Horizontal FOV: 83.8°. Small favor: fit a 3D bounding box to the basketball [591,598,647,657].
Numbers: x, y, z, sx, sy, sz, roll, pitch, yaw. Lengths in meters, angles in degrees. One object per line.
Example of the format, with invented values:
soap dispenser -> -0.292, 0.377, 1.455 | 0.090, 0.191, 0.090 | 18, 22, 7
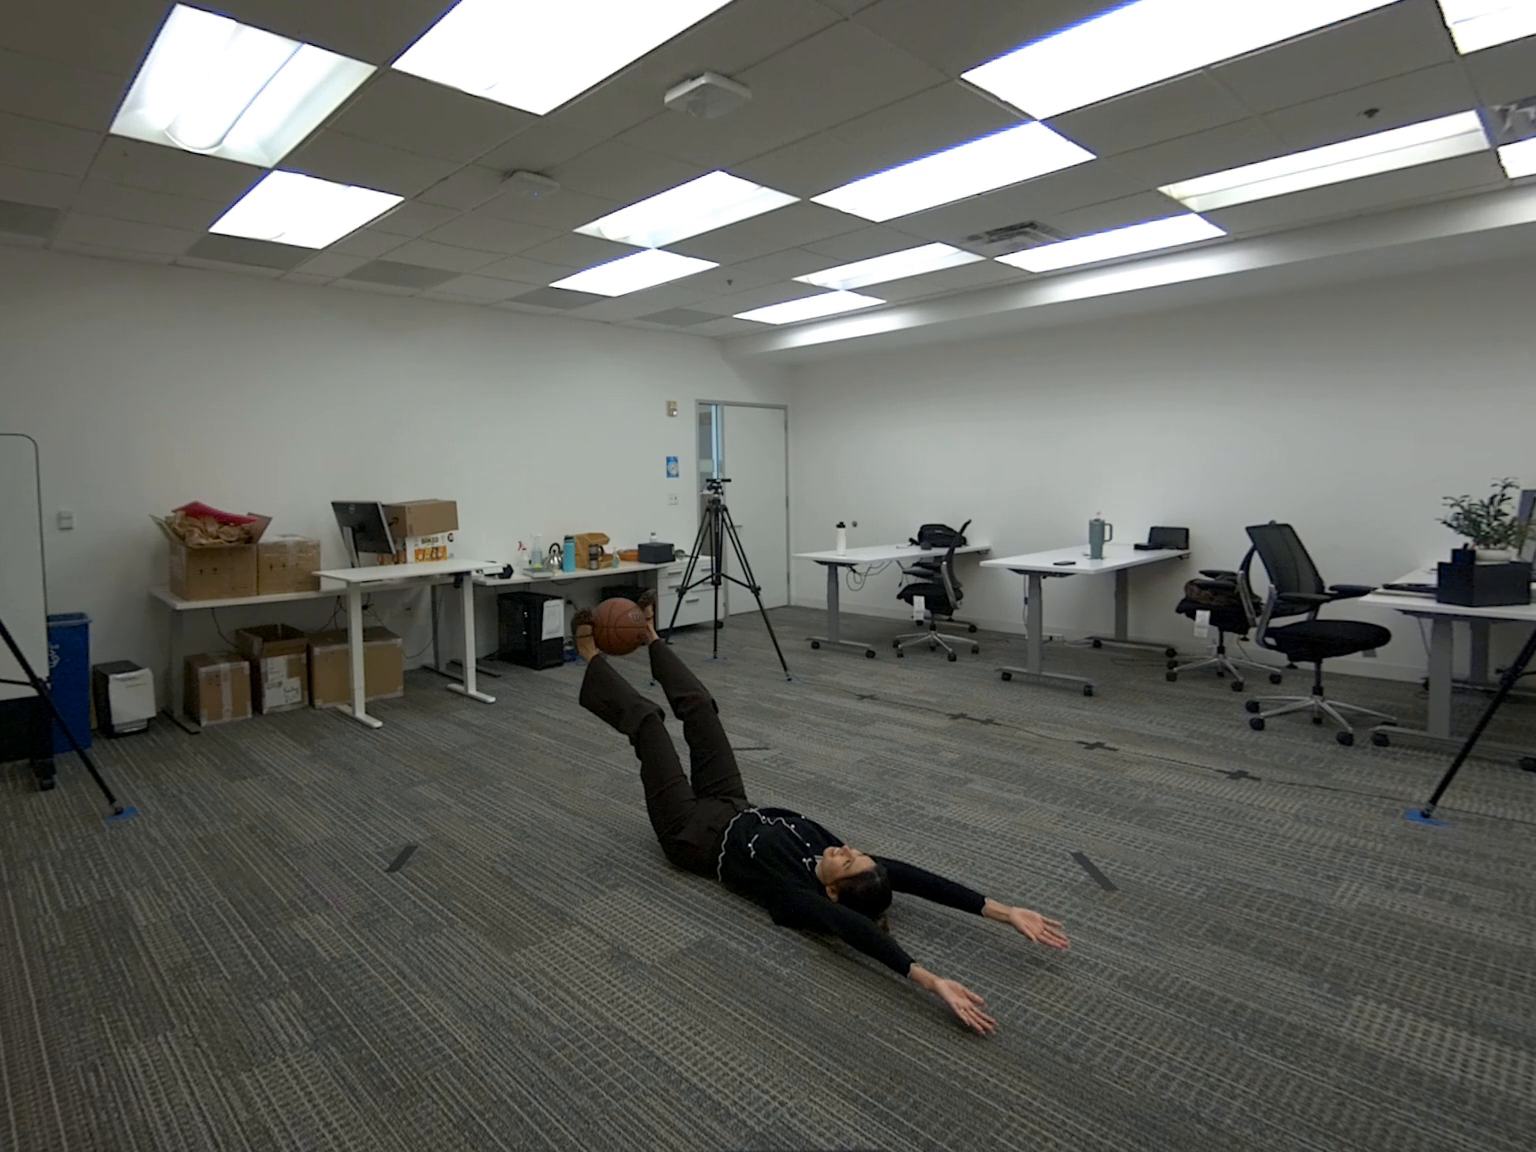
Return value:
basketball -> -0.612, 0.210, 3.492 | 0.236, 0.235, 0.237 | -1, 5, -2
